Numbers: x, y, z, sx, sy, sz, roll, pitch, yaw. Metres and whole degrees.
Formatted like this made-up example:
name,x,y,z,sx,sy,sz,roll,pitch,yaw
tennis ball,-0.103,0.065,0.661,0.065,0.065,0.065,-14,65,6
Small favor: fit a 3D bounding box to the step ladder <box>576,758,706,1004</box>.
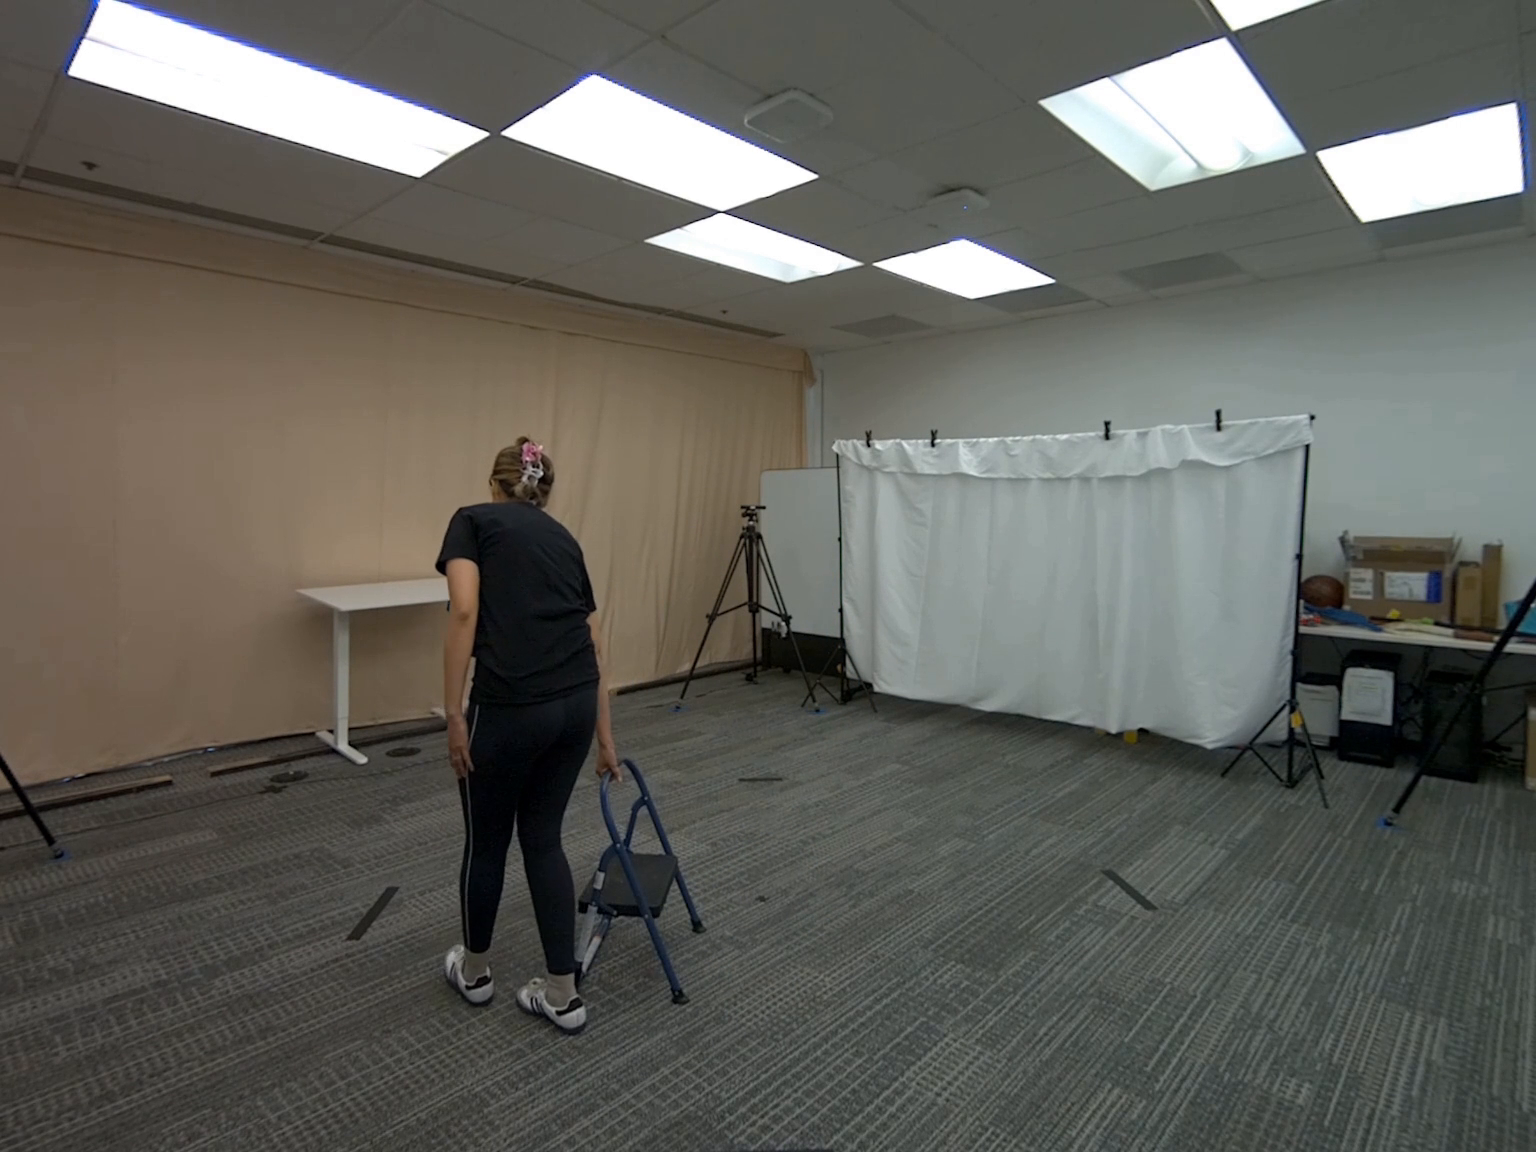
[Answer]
name,x,y,z,sx,sy,sz,roll,pitch,yaw
step ladder,-0.391,0.884,2.568,0.351,0.605,0.429,0,4,4
